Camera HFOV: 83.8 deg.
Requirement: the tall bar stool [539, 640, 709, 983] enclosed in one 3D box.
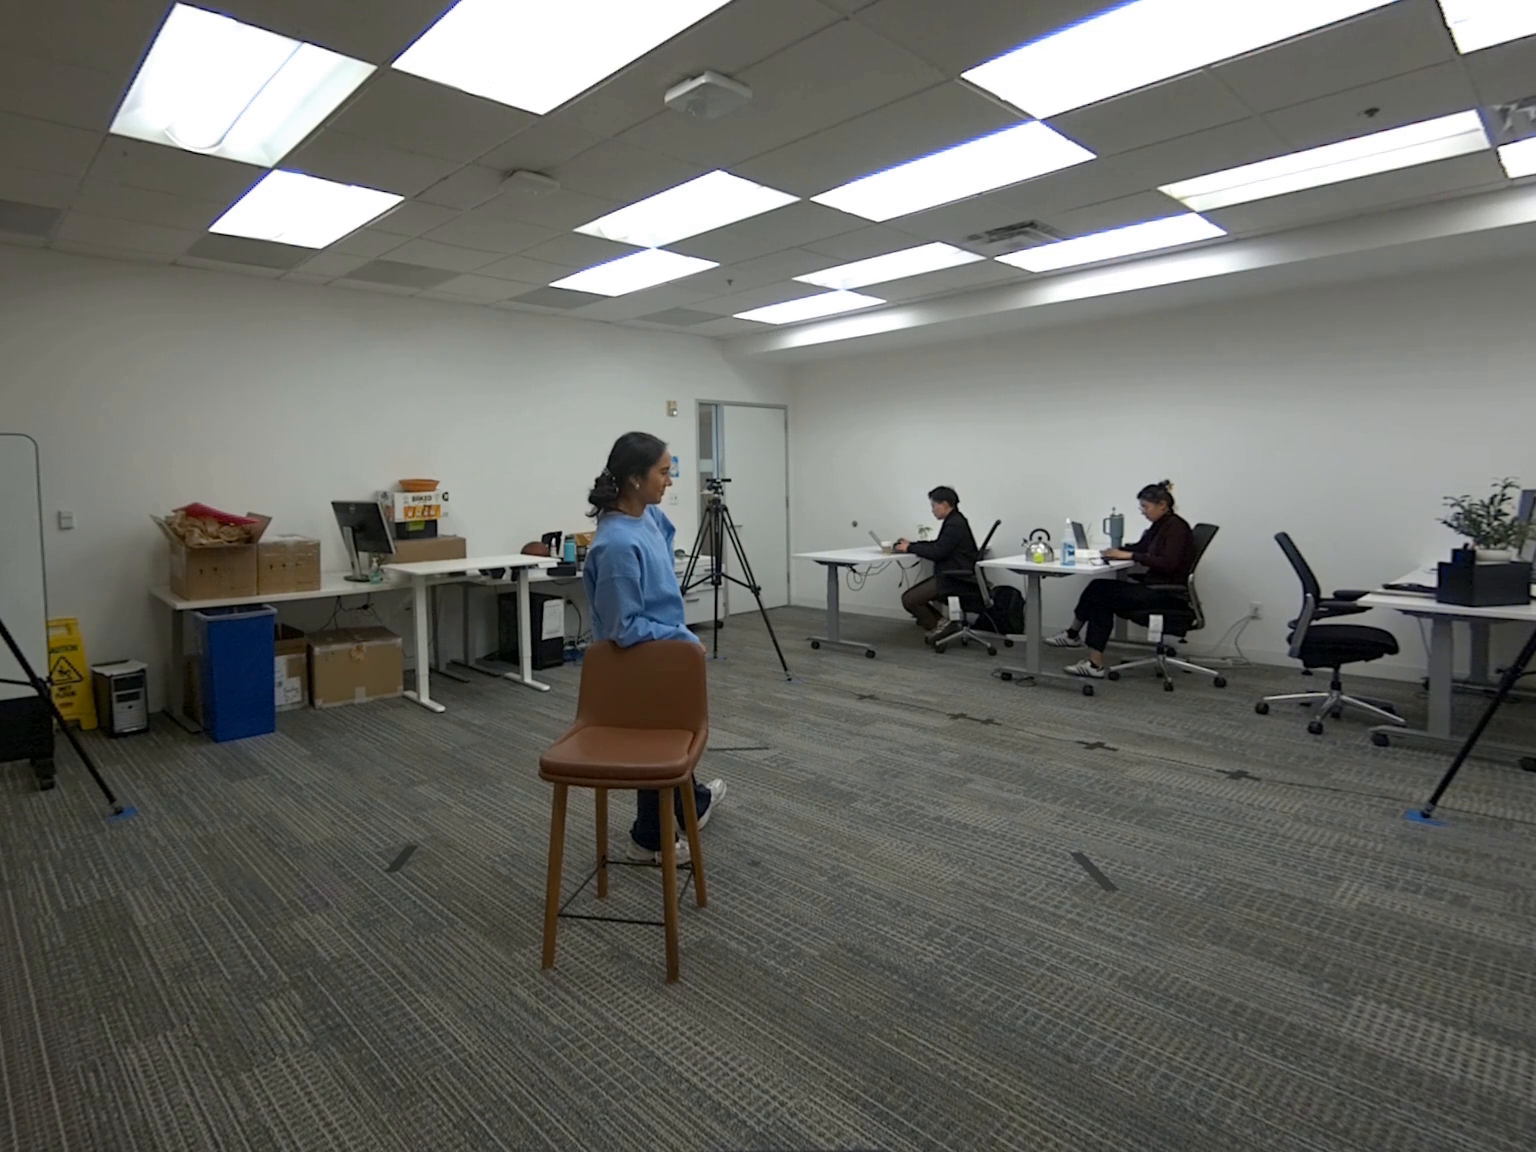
[{"bbox_3d":[-0.422,0.677,2.611,0.462,0.887,0.463,0,3,12],"label":"tall bar stool"}]
